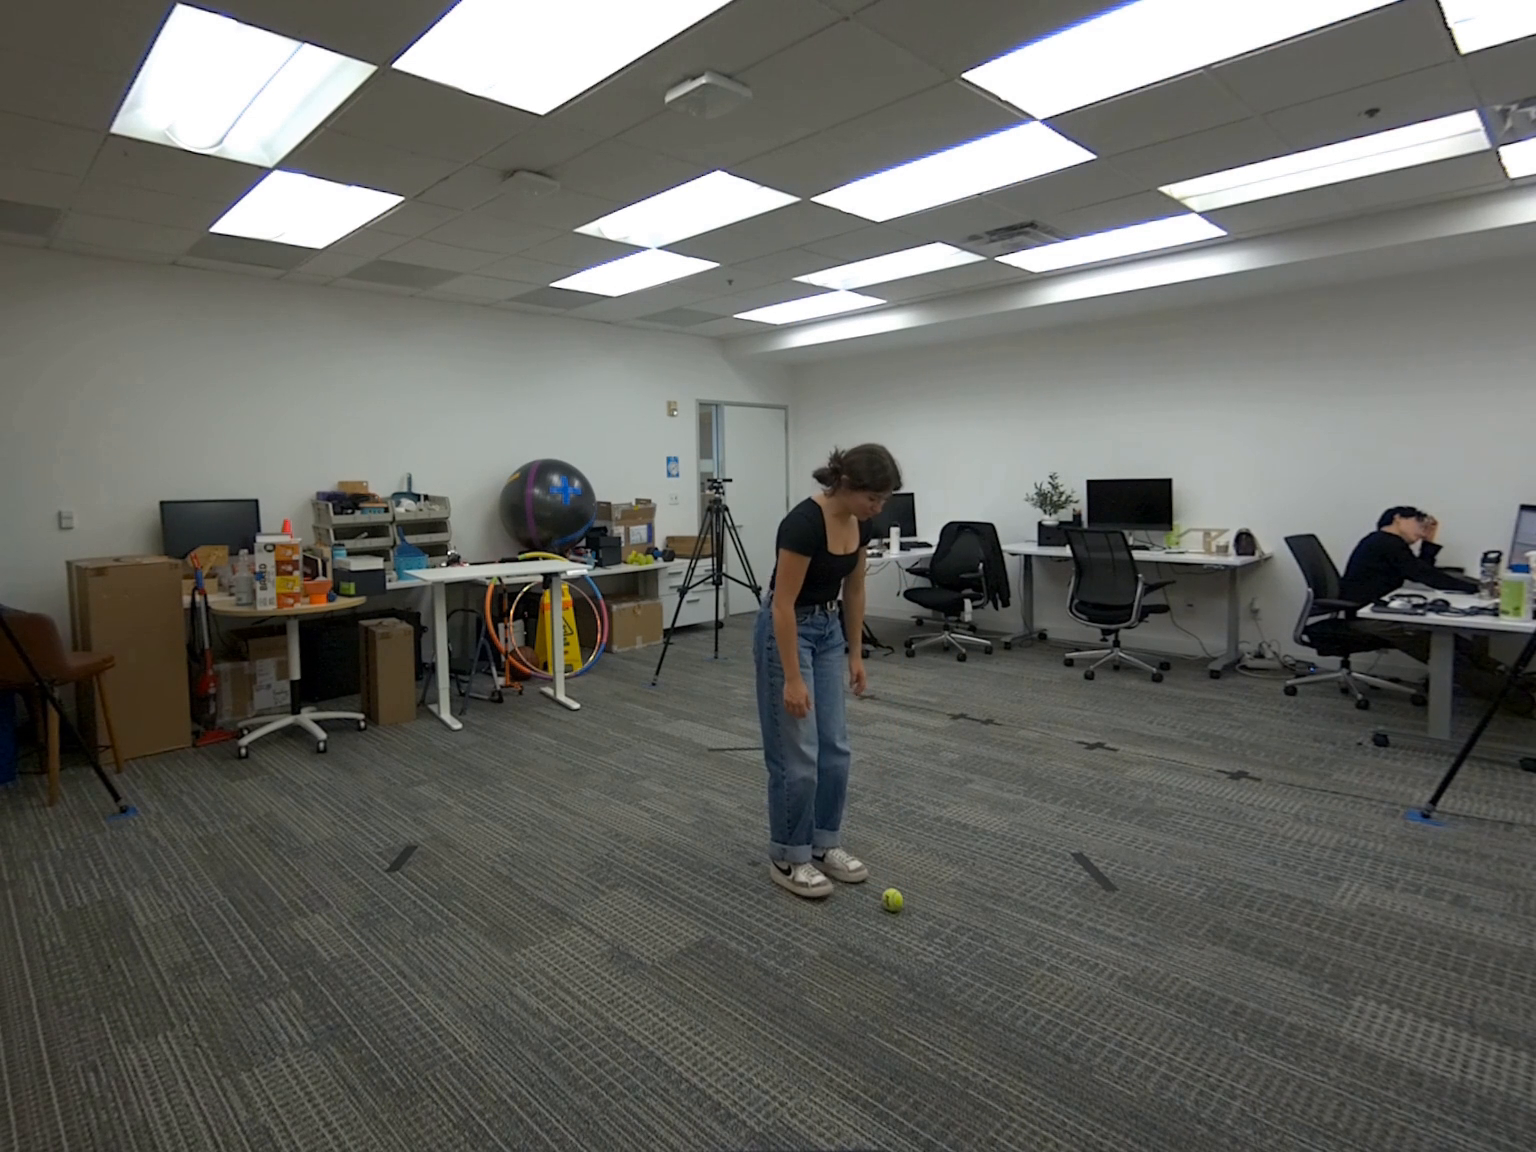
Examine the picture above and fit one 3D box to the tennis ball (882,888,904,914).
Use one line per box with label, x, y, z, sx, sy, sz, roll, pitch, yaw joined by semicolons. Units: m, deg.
tennis ball;0.411;1.022;2.746;0.066;0.066;0.067;-1;5;-2
